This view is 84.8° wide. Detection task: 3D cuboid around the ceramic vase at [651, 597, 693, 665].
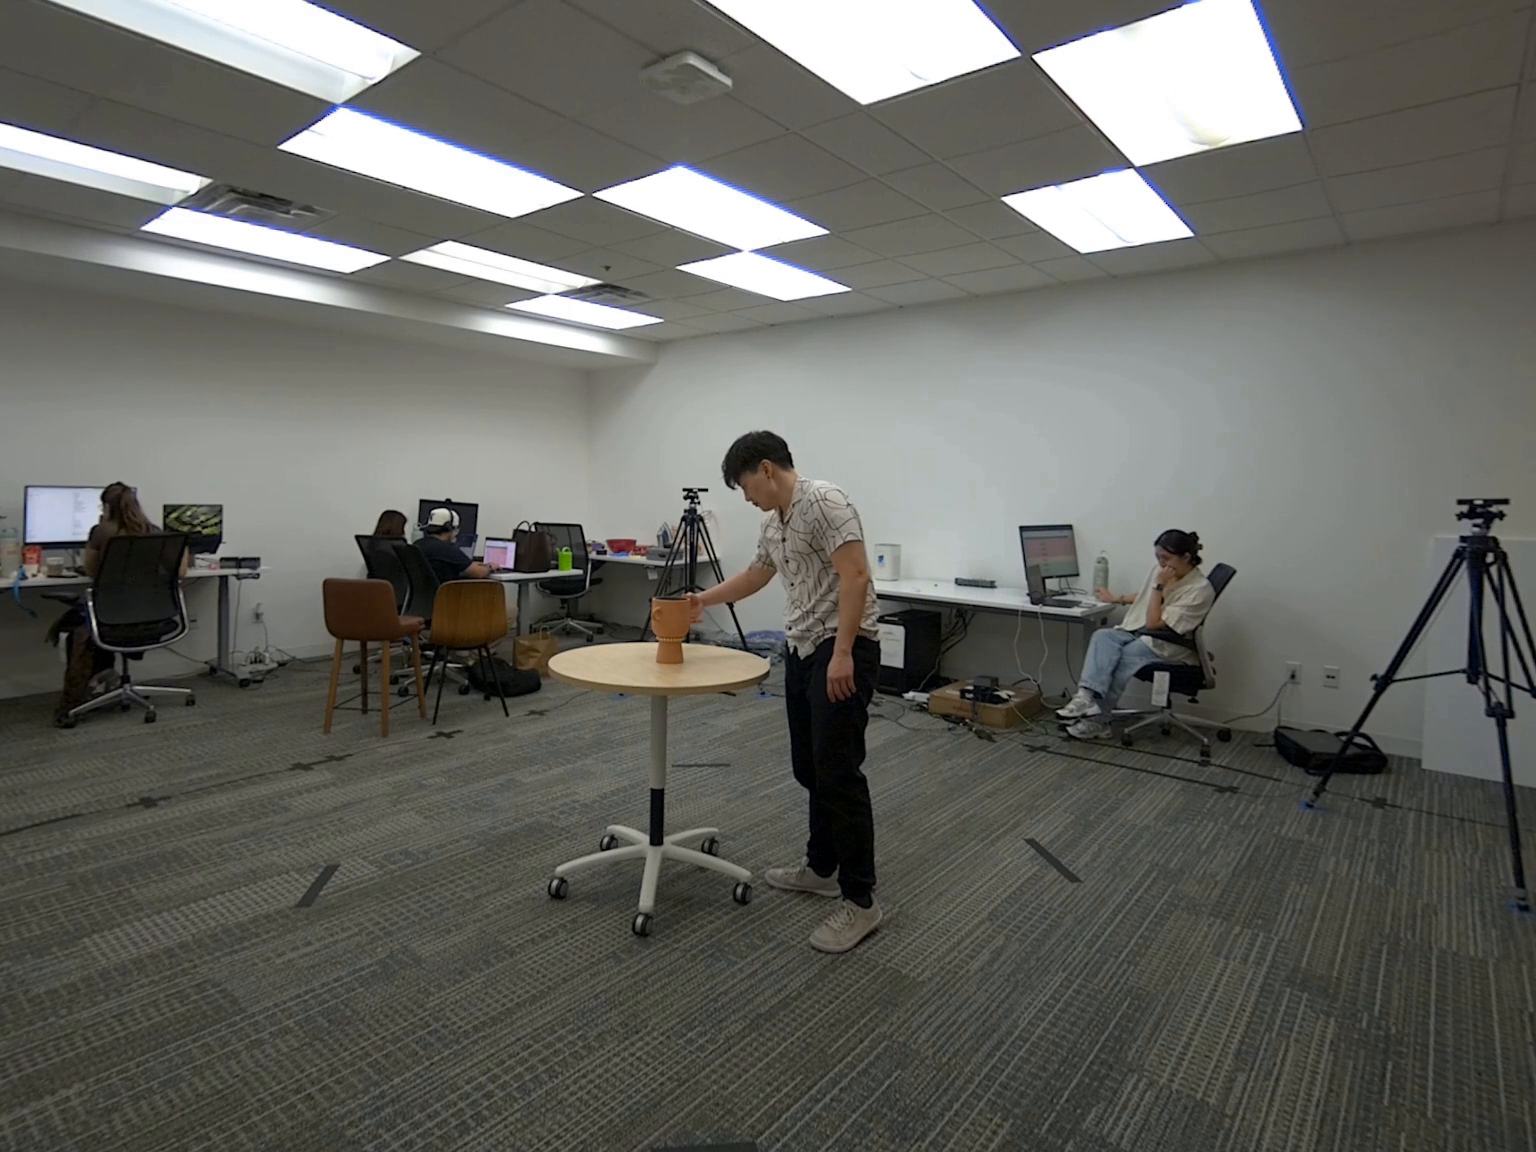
[{"bbox_3d":[-0.352,0.188,2.980,0.156,0.219,0.137,1,3,-16],"label":"ceramic vase"}]
